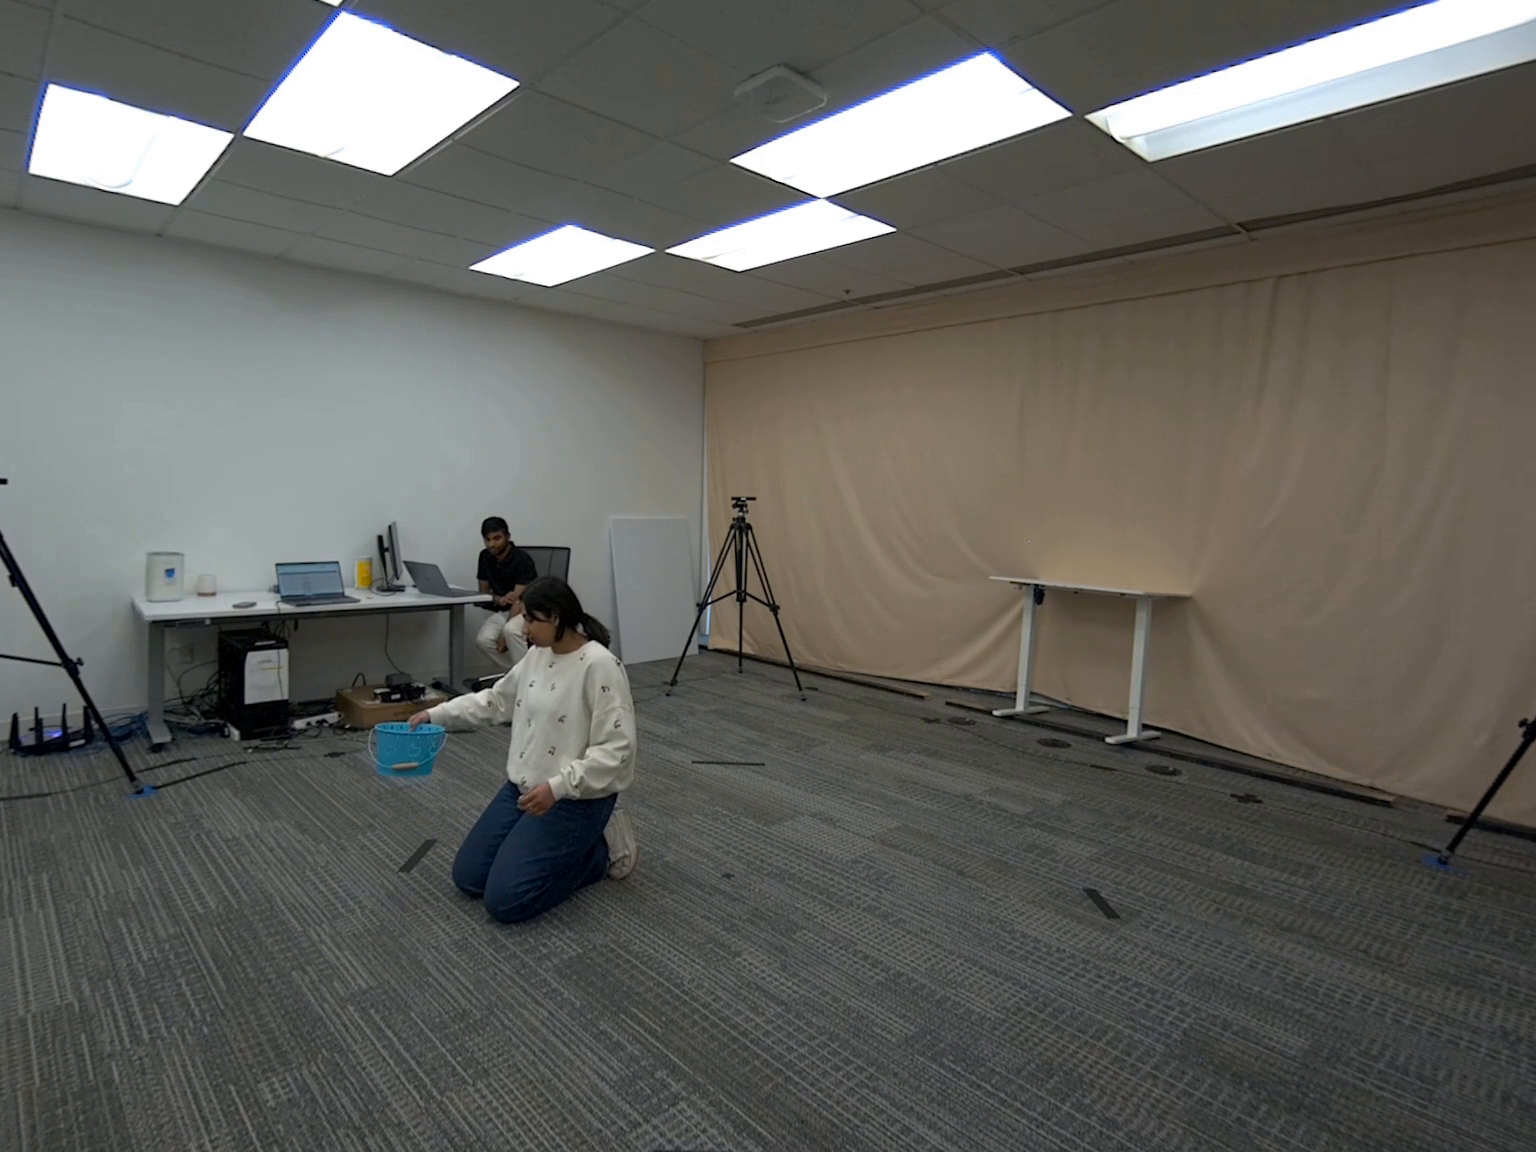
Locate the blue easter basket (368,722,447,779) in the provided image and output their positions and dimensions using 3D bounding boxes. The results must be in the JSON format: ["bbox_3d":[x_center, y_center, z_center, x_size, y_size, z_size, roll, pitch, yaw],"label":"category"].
[{"bbox_3d":[-1.240,0.603,2.905,0.243,0.156,0.243,4,-2,-1],"label":"blue easter basket"}]
